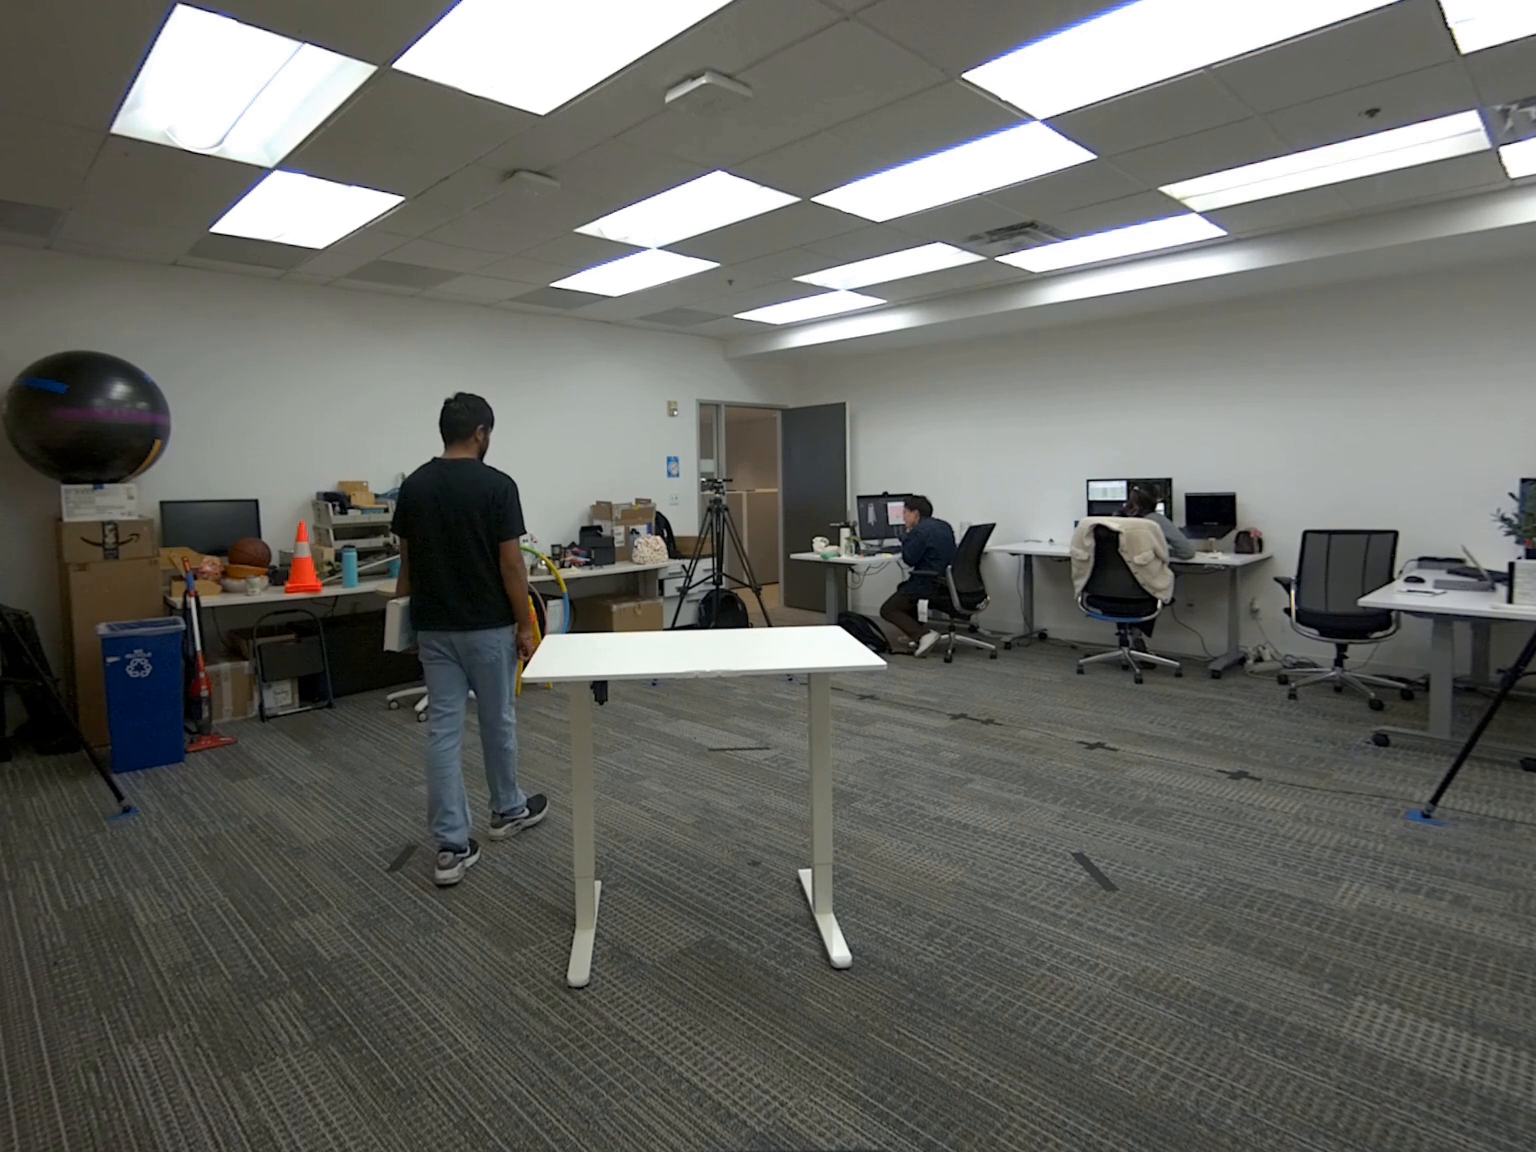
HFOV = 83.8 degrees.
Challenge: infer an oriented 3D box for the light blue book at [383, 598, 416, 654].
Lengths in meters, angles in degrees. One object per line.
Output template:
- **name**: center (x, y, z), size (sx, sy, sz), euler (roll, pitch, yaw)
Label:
- **light blue book**: center (-1.312, 0.159, 3.186), size (0.060, 0.190, 0.259), euler (9, 10, 12)
